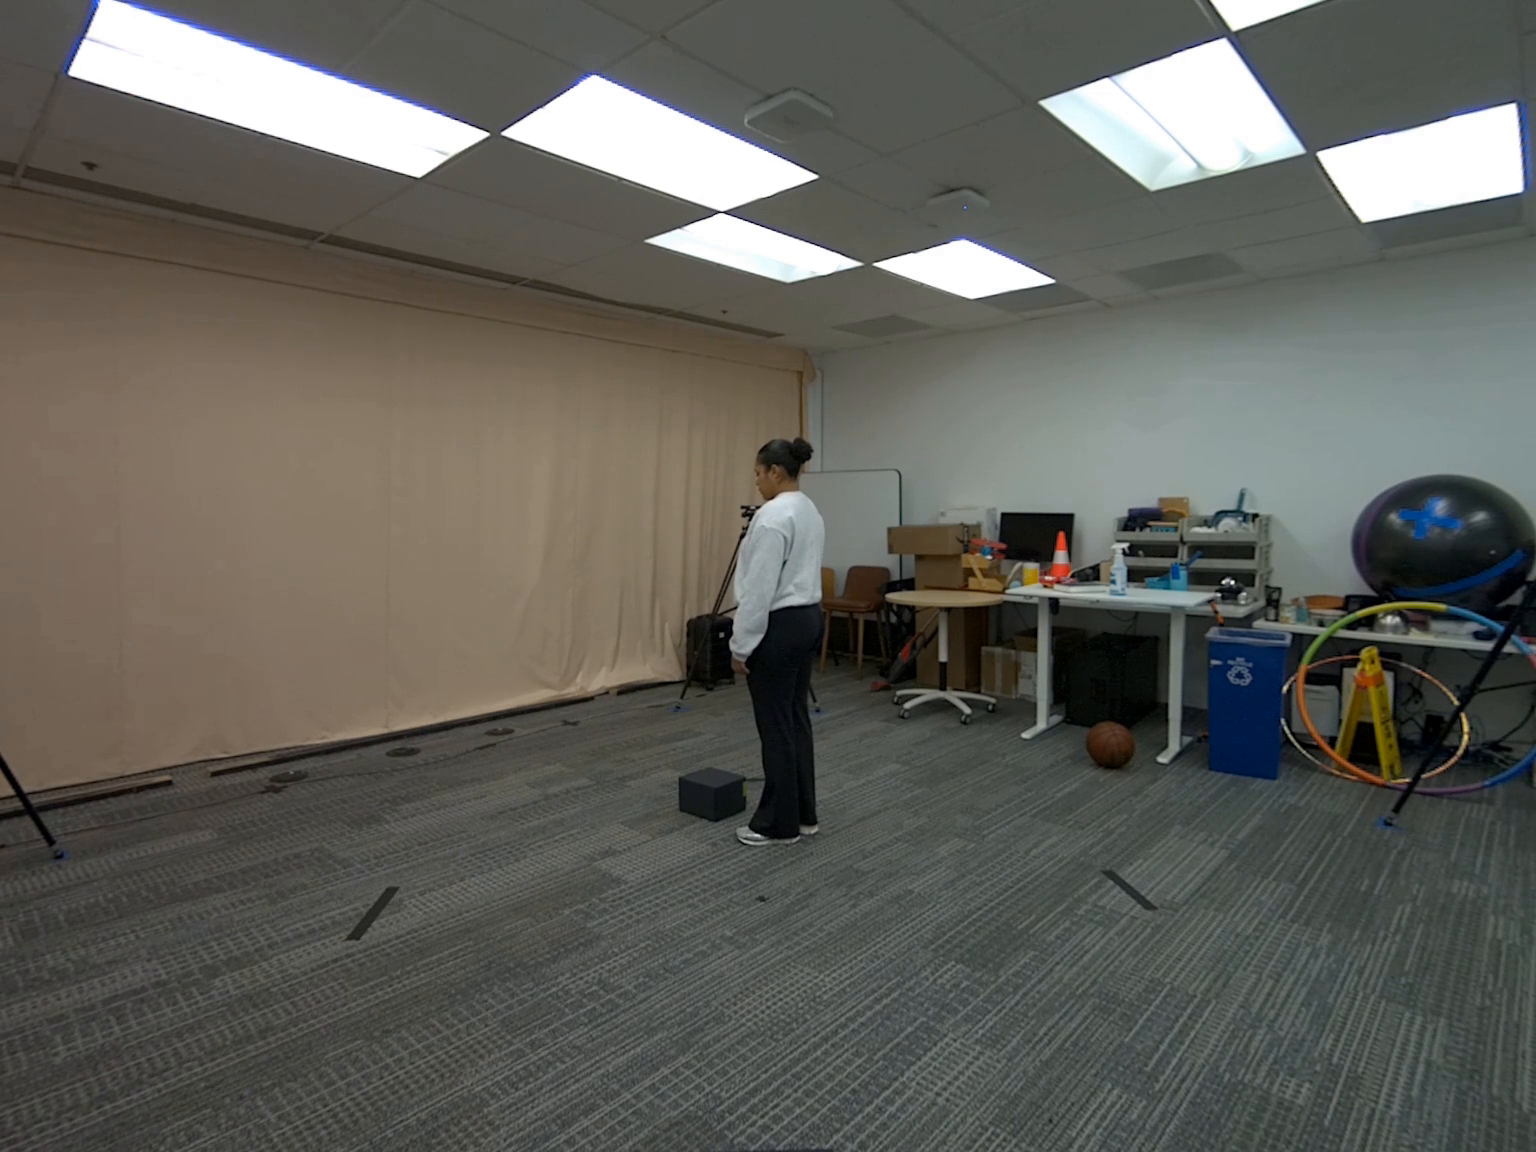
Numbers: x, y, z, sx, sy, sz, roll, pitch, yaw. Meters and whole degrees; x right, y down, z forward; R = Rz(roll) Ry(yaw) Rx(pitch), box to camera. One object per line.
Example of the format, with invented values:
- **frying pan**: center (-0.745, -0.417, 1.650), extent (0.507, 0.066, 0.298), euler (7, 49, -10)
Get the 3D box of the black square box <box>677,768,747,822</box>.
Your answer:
- **black square box**: center (-0.249, 0.991, 3.851), extent (0.235, 0.155, 0.210), euler (3, 4, 40)
